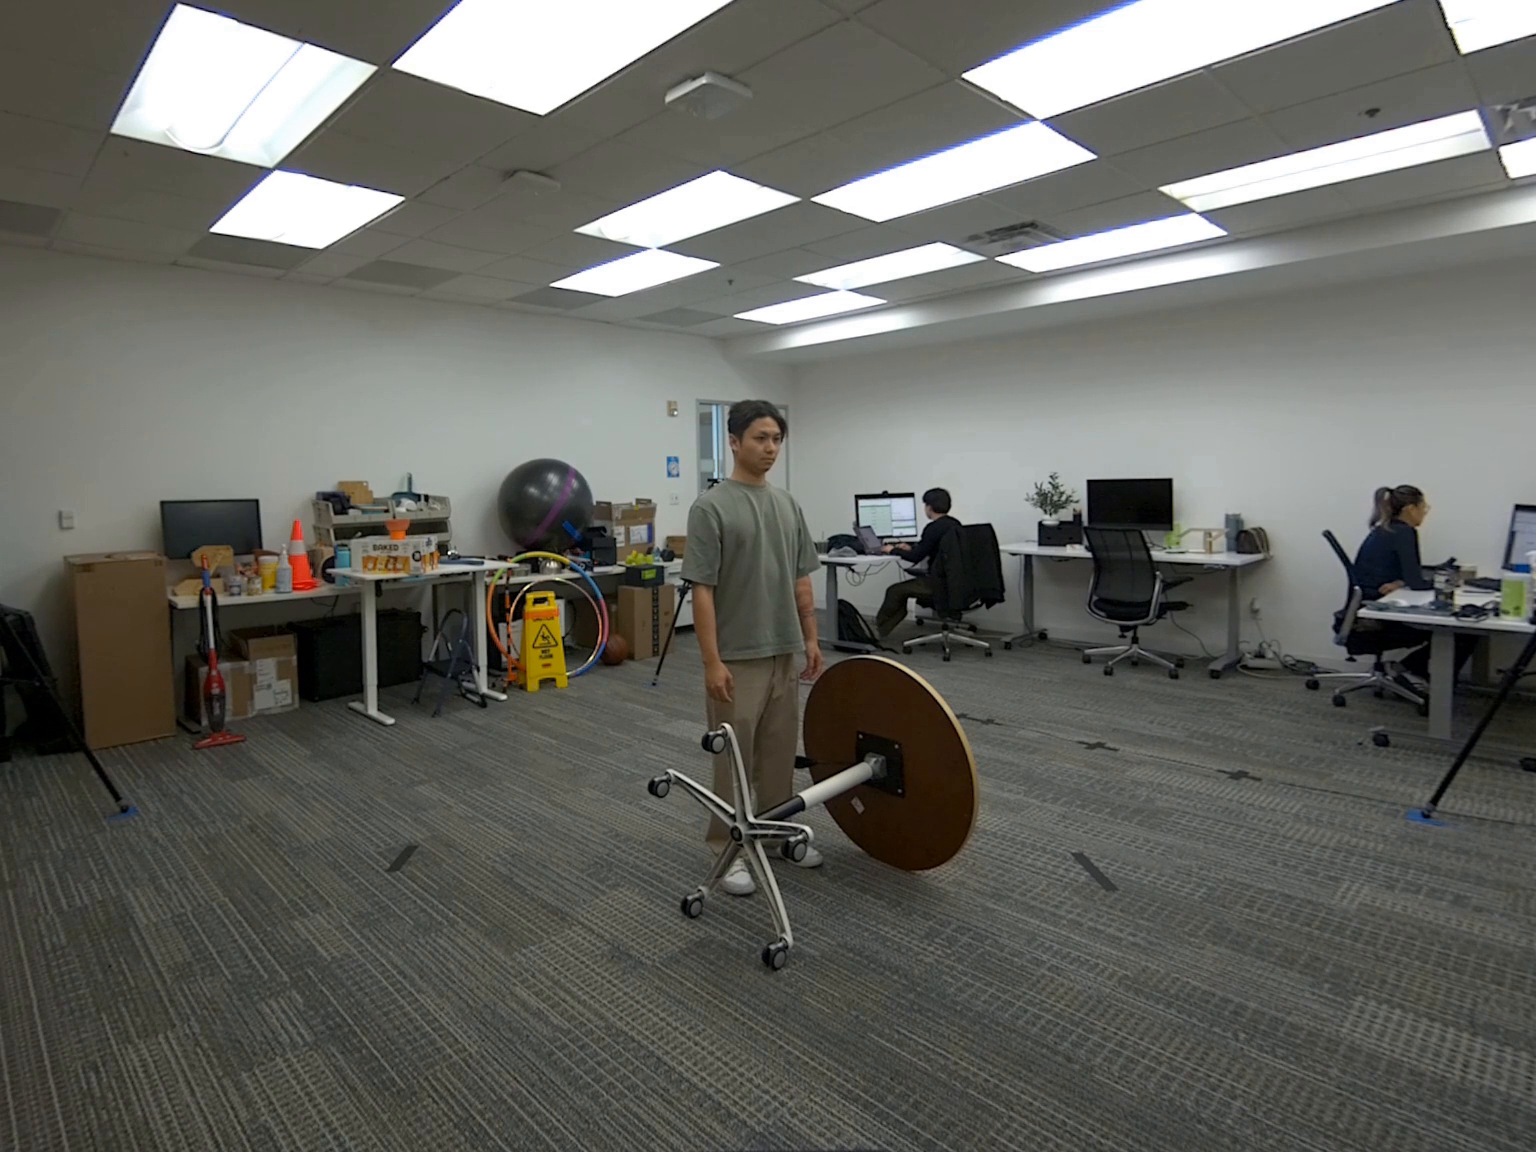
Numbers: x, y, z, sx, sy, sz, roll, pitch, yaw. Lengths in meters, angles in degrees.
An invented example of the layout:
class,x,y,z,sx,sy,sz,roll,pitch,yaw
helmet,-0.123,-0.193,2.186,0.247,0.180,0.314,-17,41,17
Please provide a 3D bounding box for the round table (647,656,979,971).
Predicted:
class,x,y,z,sx,sy,sz,roll,pitch,yaw
round table,0.138,0.735,2.789,0.769,0.778,0.809,-14,12,-41
